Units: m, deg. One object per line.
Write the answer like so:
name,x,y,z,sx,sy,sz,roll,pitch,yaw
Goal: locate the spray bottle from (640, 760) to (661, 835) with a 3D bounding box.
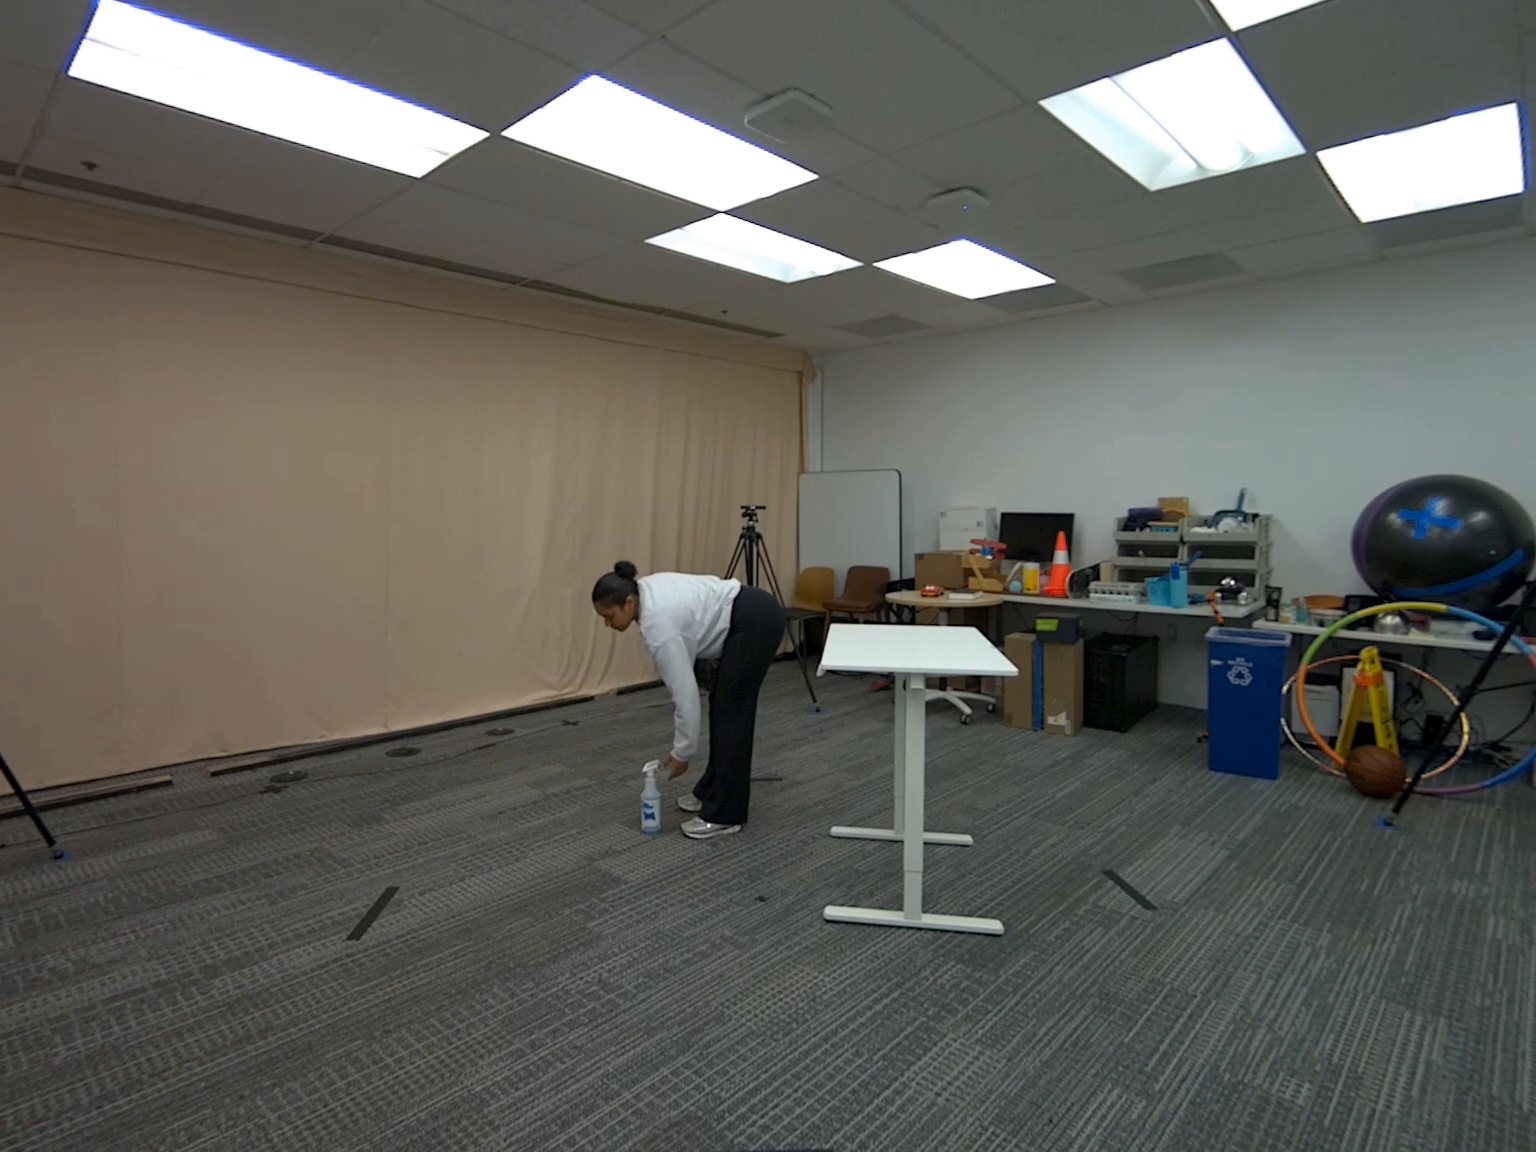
spray bottle,-0.505,0.953,3.626,0.088,0.297,0.089,-1,2,-22
